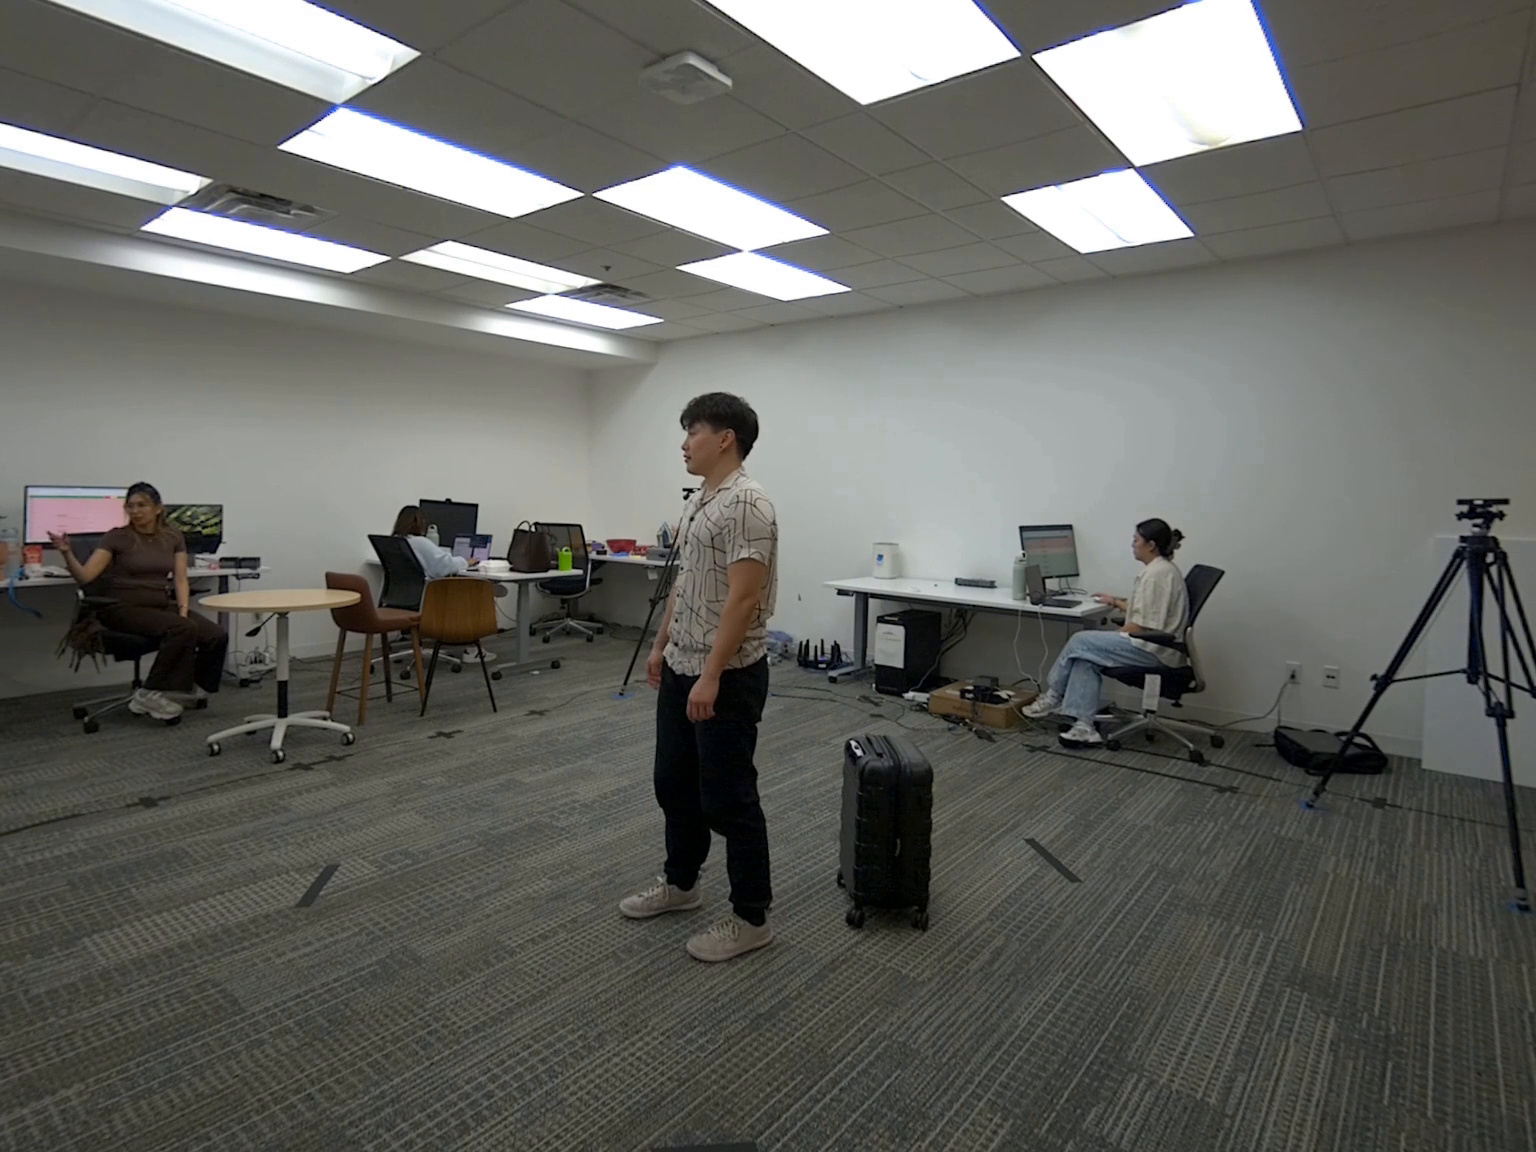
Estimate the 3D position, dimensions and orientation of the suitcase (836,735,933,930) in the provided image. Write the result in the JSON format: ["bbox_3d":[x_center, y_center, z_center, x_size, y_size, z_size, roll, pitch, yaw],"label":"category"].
[{"bbox_3d":[0.387,0.833,2.878,0.248,0.548,0.376,2,2,-2],"label":"suitcase"}]
